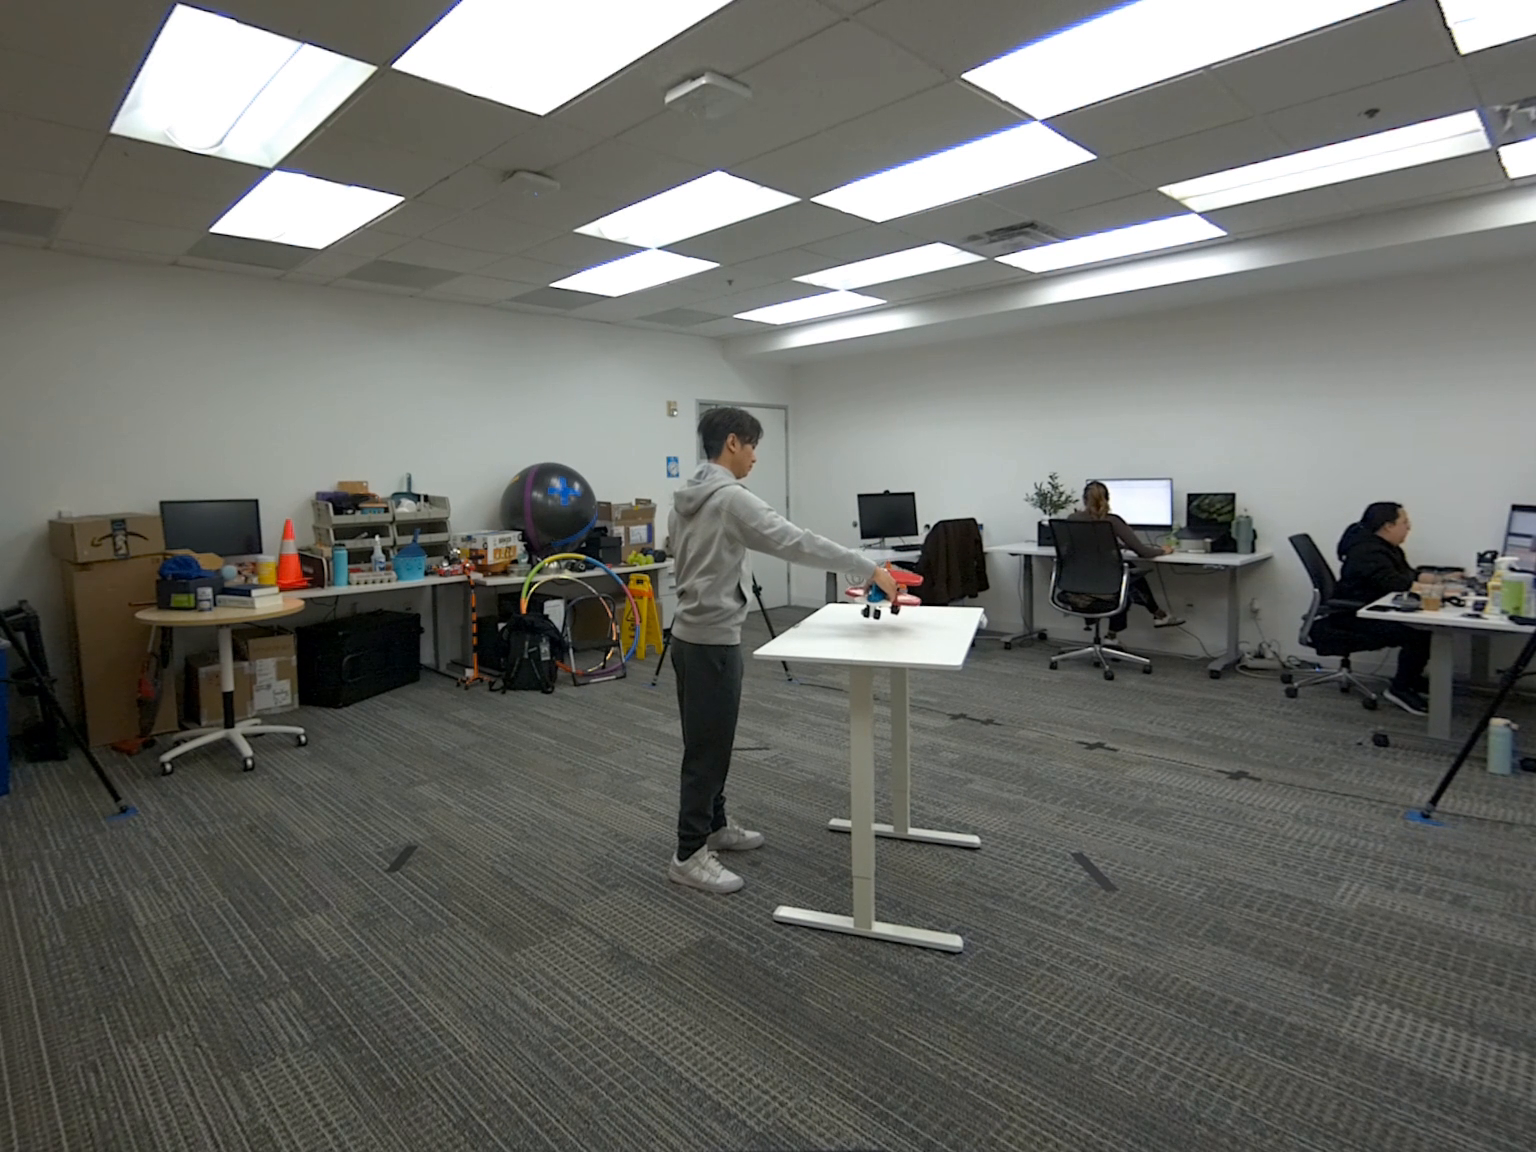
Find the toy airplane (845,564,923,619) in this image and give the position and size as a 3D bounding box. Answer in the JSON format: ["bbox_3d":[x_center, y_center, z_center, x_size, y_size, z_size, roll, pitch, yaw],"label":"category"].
[{"bbox_3d":[0.398,0.060,2.862,0.249,0.156,0.262,7,6,-7],"label":"toy airplane"}]
